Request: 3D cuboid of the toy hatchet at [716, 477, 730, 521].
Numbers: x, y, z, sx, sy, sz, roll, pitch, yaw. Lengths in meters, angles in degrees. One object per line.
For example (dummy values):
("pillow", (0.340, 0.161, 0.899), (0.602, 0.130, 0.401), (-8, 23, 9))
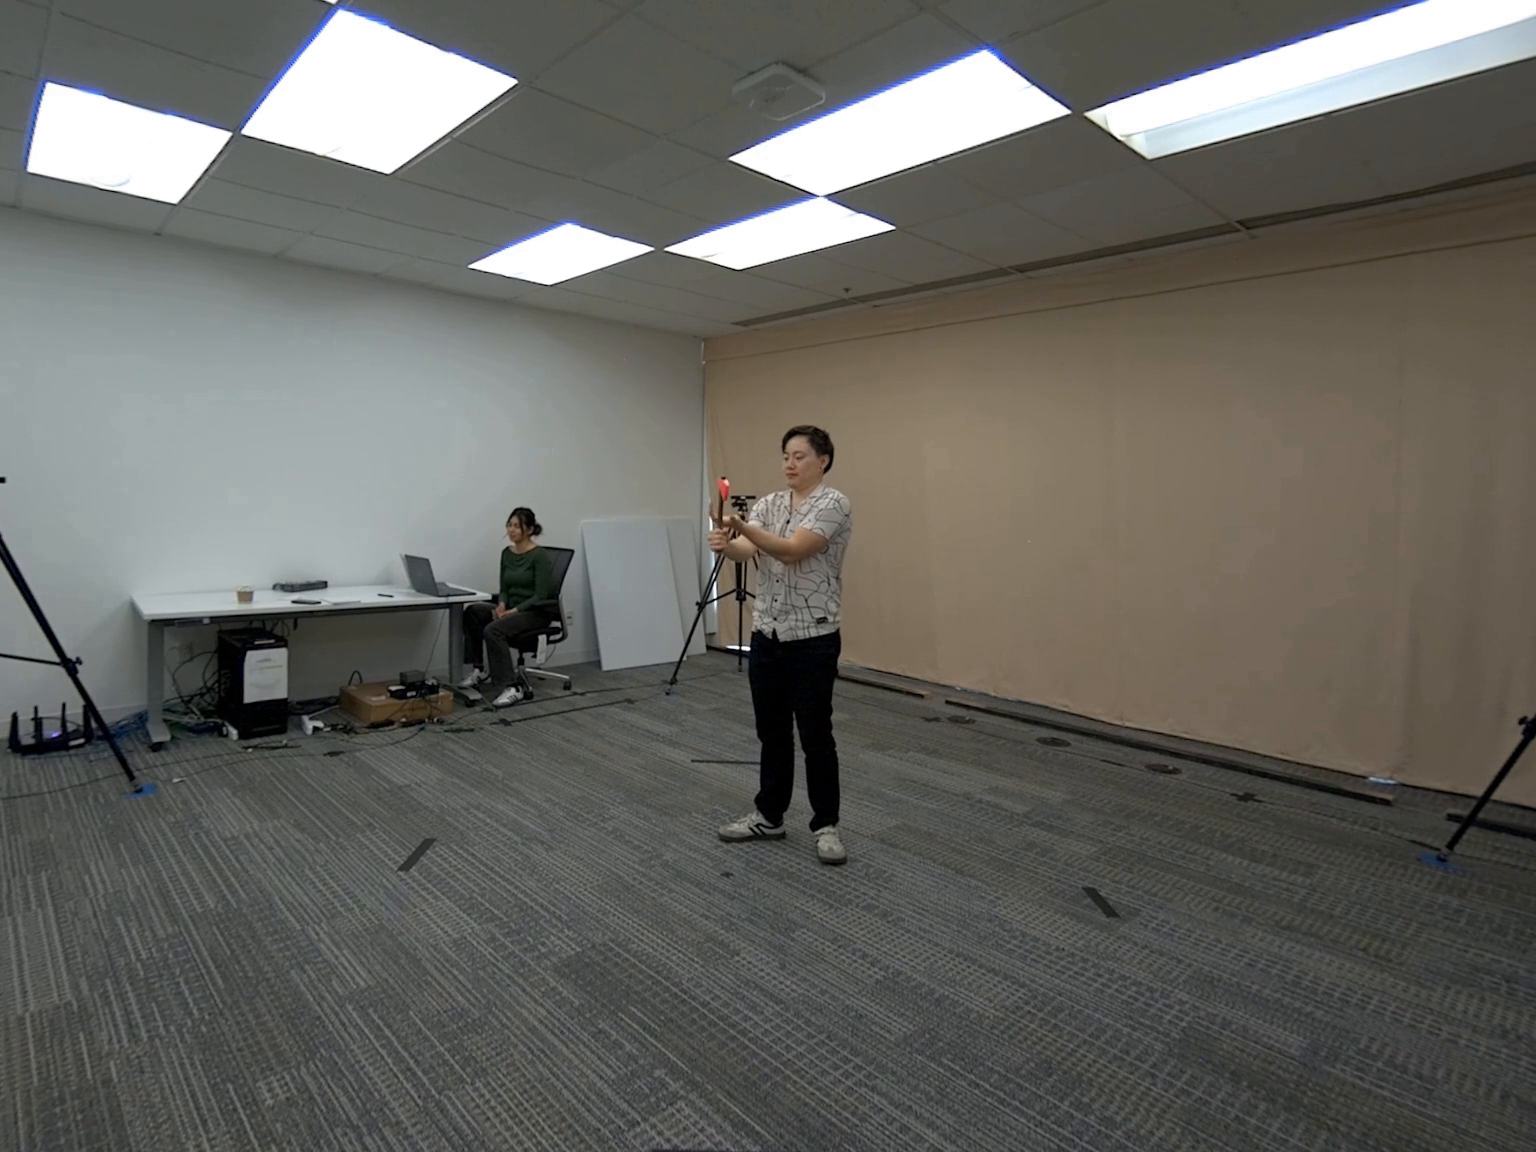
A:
("toy hatchet", (-0.171, -0.225, 2.997), (0.029, 0.270, 0.132), (2, -1, -18))
